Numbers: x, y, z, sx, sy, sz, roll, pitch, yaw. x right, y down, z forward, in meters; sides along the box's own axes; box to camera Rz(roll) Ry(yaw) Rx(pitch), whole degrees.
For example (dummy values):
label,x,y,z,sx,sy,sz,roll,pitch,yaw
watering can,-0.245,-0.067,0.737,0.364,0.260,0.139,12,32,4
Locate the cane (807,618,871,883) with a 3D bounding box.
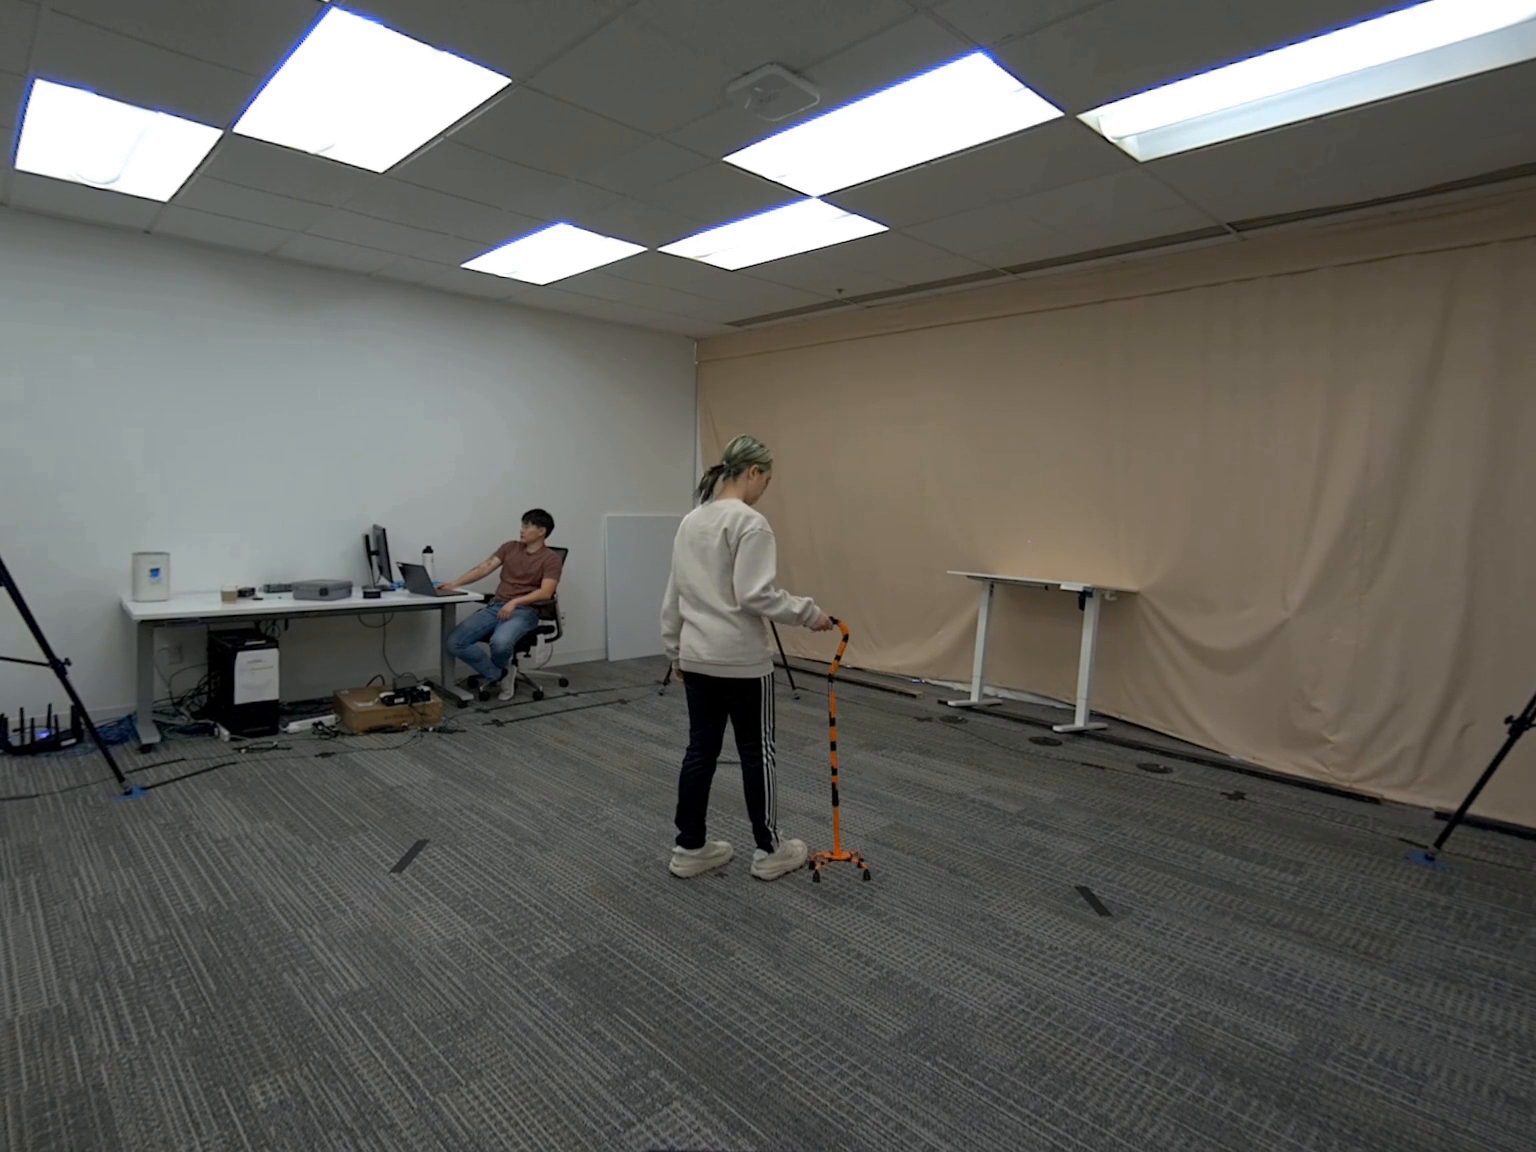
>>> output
label,x,y,z,sx,sy,sz,roll,pitch,yaw
cane,0.234,0.608,2.993,0.206,0.909,0.151,-1,-1,-2
